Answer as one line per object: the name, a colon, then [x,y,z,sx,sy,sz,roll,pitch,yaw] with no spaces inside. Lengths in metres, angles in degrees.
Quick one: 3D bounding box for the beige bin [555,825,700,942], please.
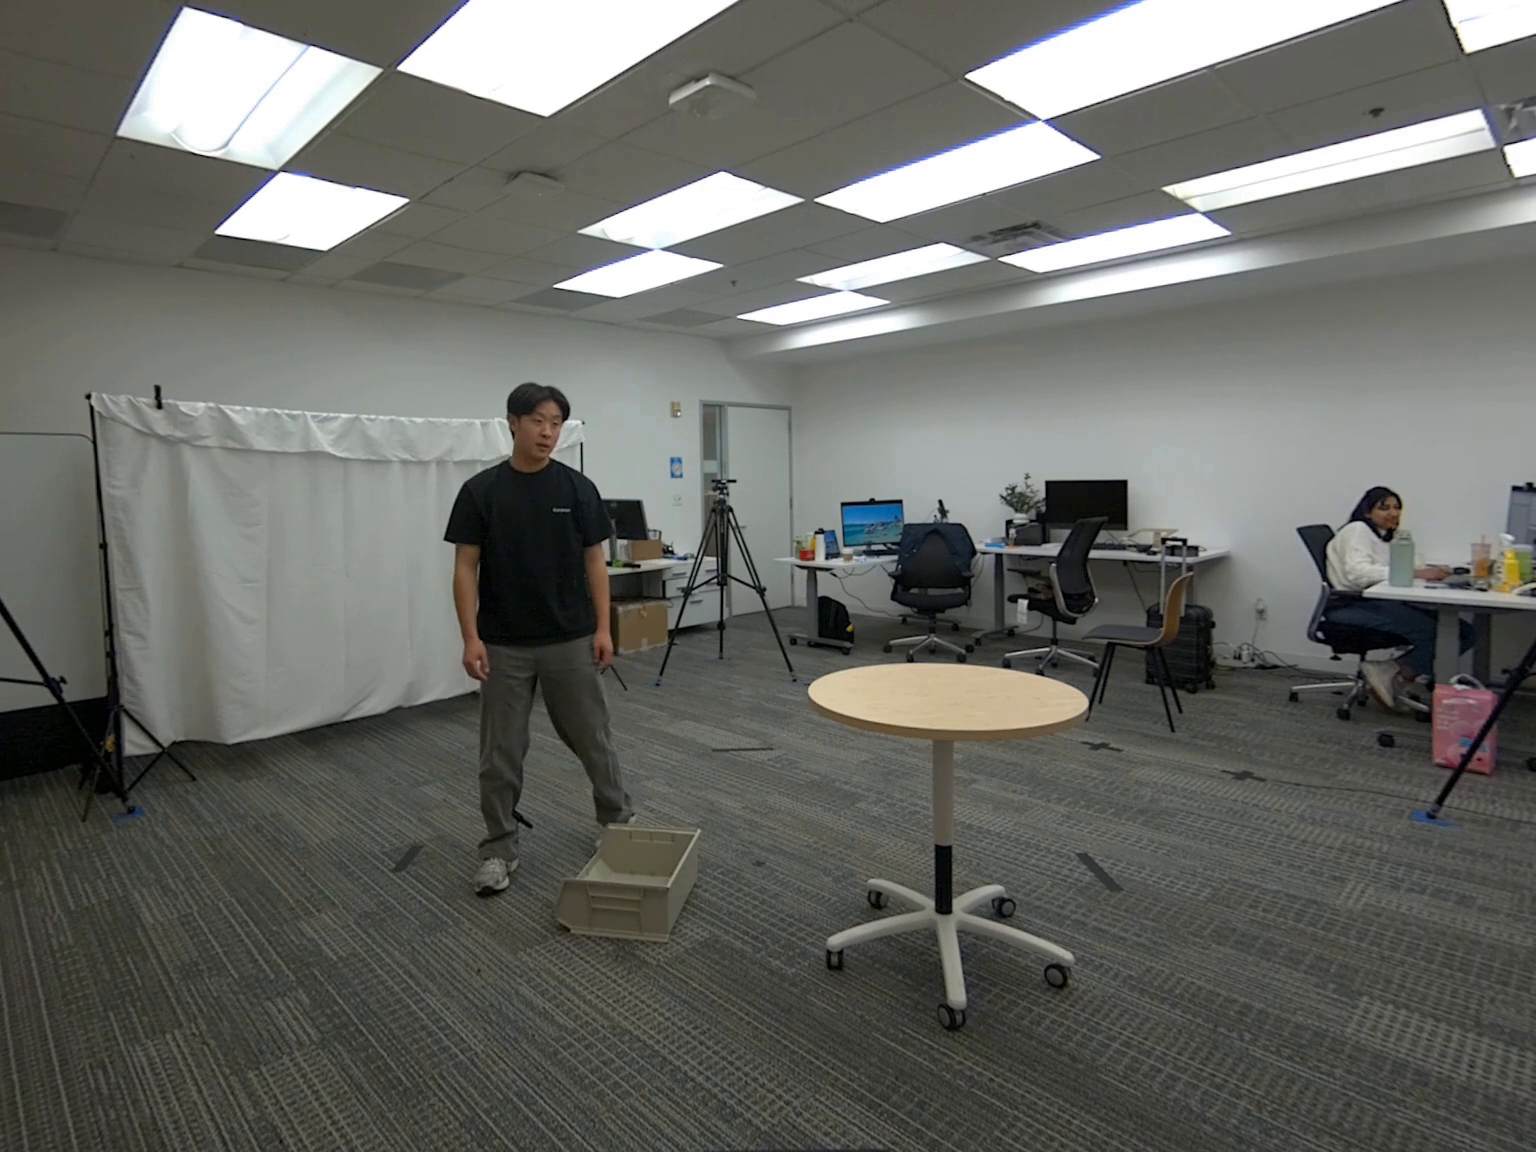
beige bin: [-0.449,1.003,2.816,0.381,0.188,0.420,1,6,9]
